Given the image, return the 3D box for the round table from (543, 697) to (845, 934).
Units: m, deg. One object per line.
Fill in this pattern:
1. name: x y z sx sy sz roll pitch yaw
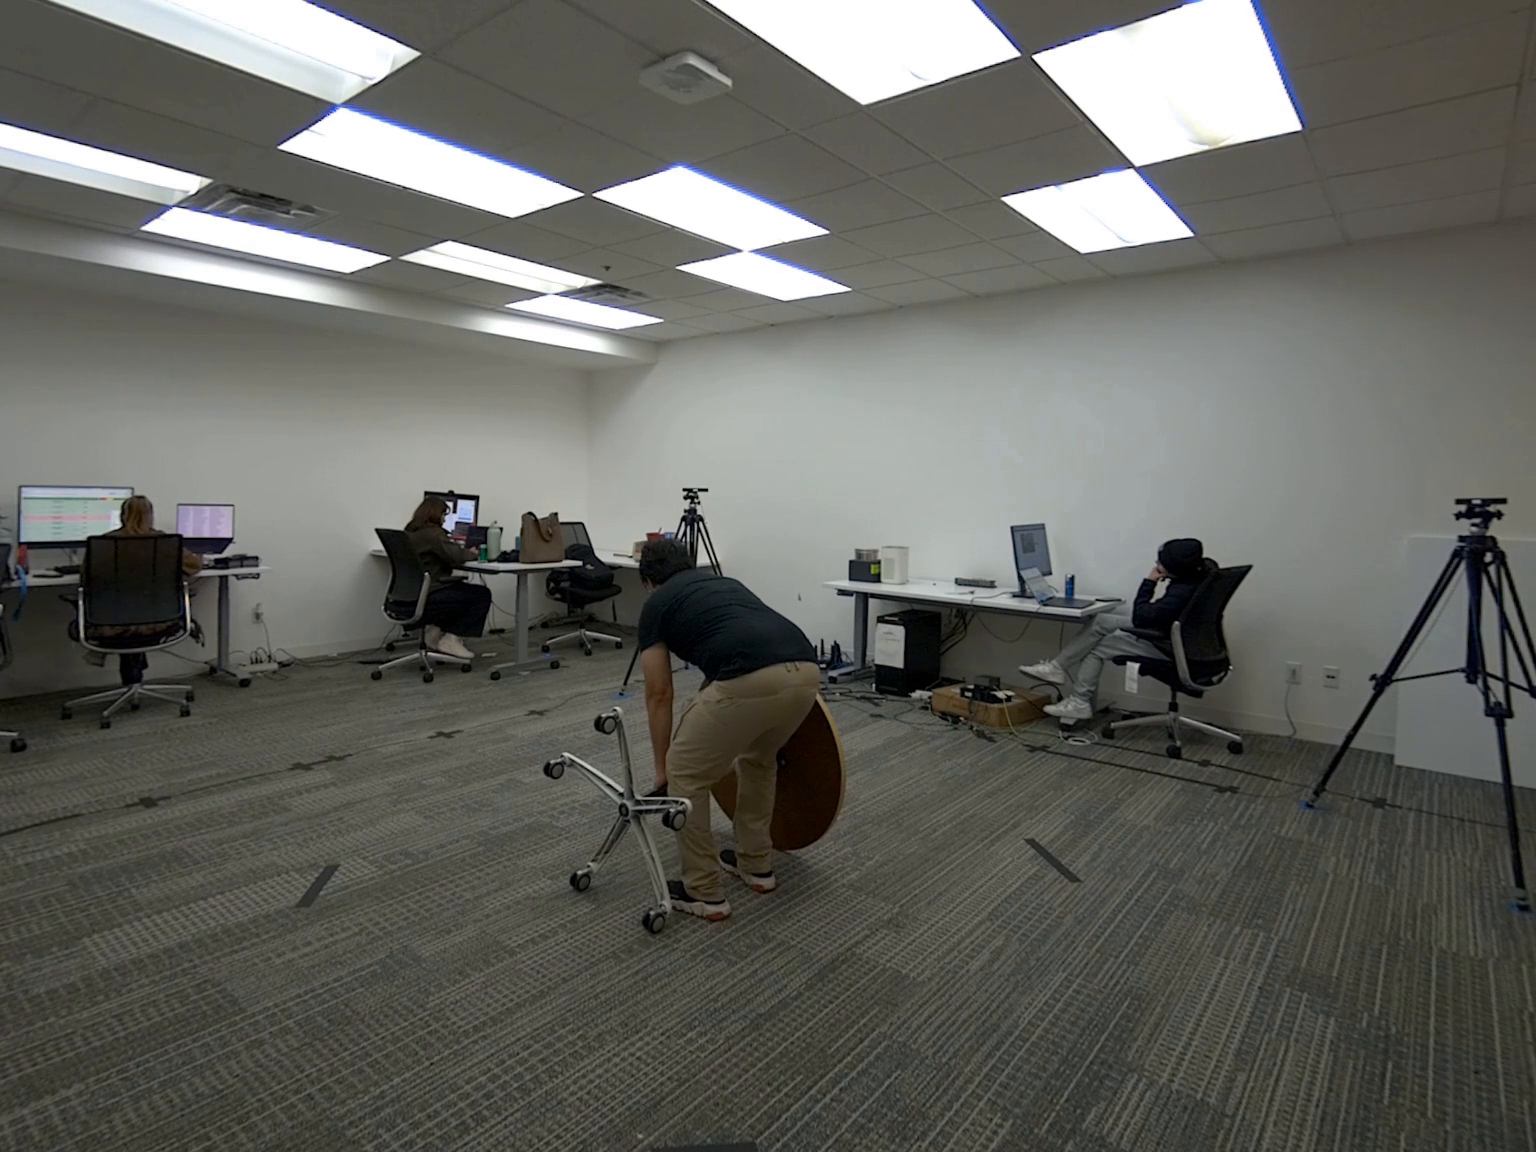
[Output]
1. round table: -0.283 0.715 3.028 0.812 0.780 0.765 5 9 42
